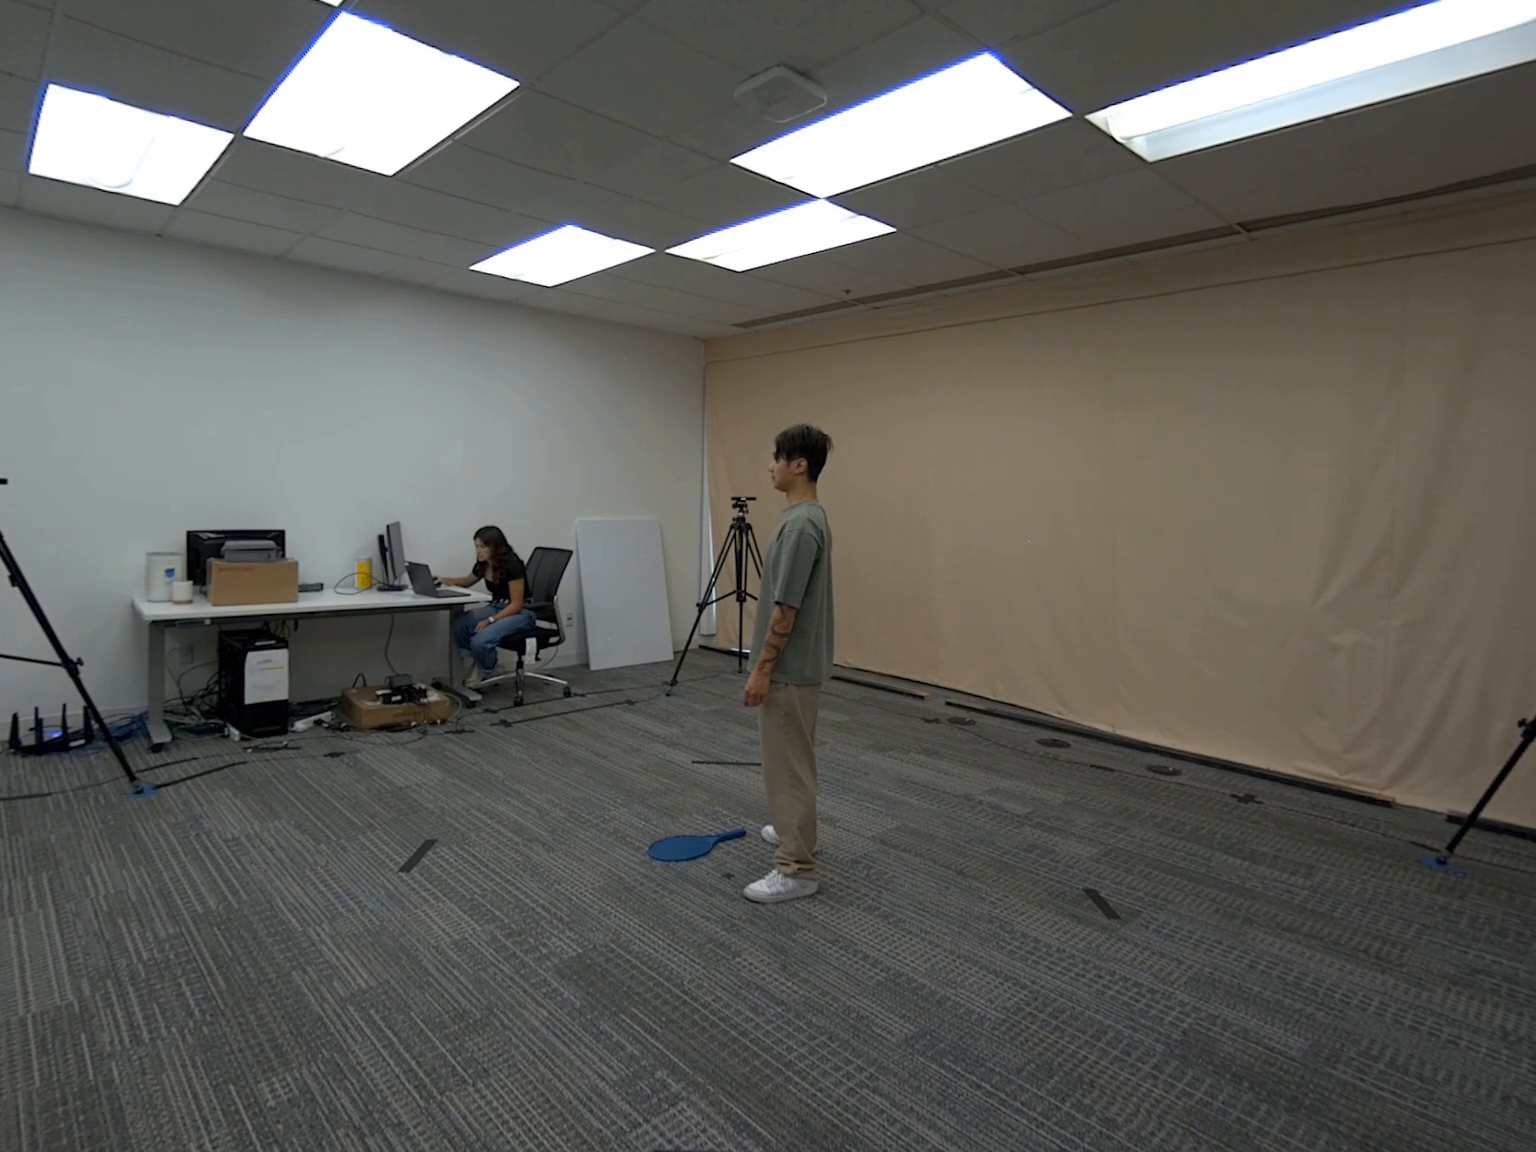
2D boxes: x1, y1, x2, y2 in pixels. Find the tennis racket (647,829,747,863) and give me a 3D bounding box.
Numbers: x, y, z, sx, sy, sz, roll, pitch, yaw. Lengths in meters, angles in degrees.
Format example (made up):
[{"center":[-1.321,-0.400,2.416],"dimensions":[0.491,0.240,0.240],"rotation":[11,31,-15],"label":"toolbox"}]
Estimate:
[{"center":[-0.278,1.068,3.360],"dimensions":[0.424,0.031,0.219],"rotation":[-3,6,-31],"label":"tennis racket"}]
